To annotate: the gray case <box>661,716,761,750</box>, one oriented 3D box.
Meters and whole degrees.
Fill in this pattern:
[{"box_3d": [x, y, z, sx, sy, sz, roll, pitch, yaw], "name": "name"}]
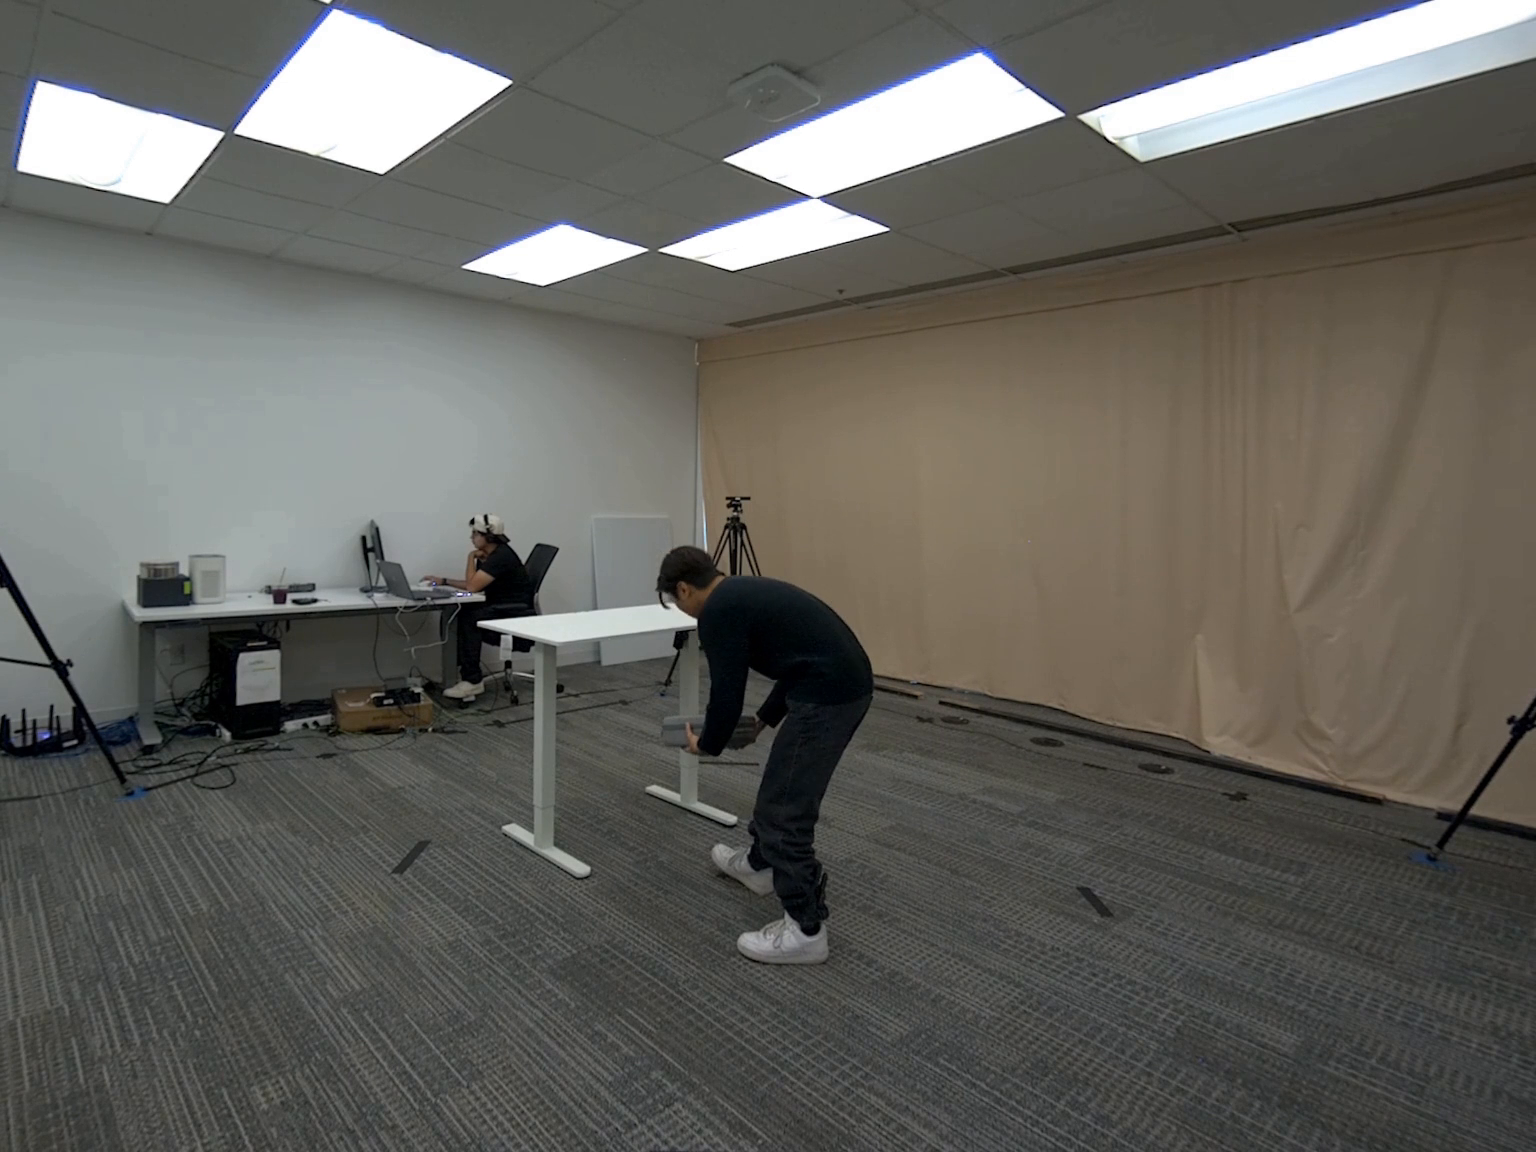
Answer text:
[{"box_3d": [-0.213, 0.540, 2.965, 0.262, 0.105, 0.253, -7, -13, 38], "name": "gray case"}]
